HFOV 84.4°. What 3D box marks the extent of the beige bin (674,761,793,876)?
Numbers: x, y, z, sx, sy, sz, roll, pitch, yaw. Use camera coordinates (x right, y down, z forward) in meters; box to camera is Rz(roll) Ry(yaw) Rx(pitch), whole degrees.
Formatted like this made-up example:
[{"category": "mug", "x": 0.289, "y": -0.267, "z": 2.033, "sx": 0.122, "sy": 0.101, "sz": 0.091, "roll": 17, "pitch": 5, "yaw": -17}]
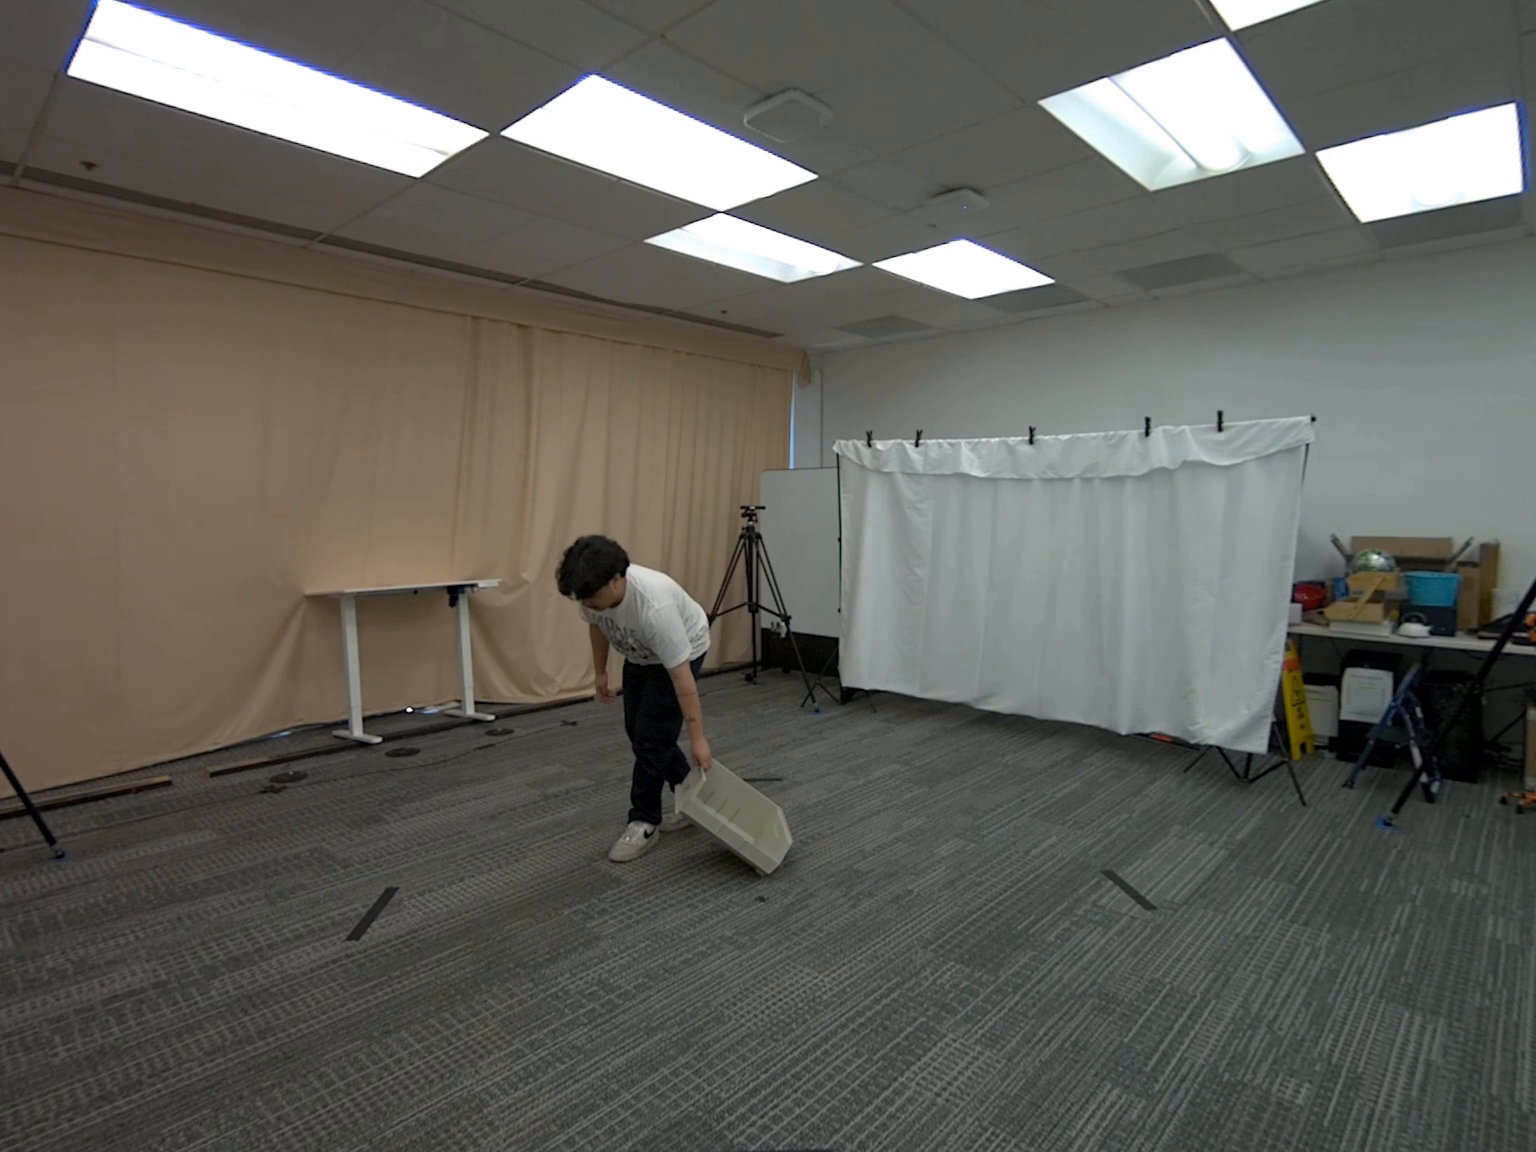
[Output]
[{"category": "beige bin", "x": -0.141, "y": 0.926, "z": 3.279, "sx": 0.419, "sy": 0.189, "sz": 0.380, "roll": 36, "pitch": -1, "yaw": -6}]
